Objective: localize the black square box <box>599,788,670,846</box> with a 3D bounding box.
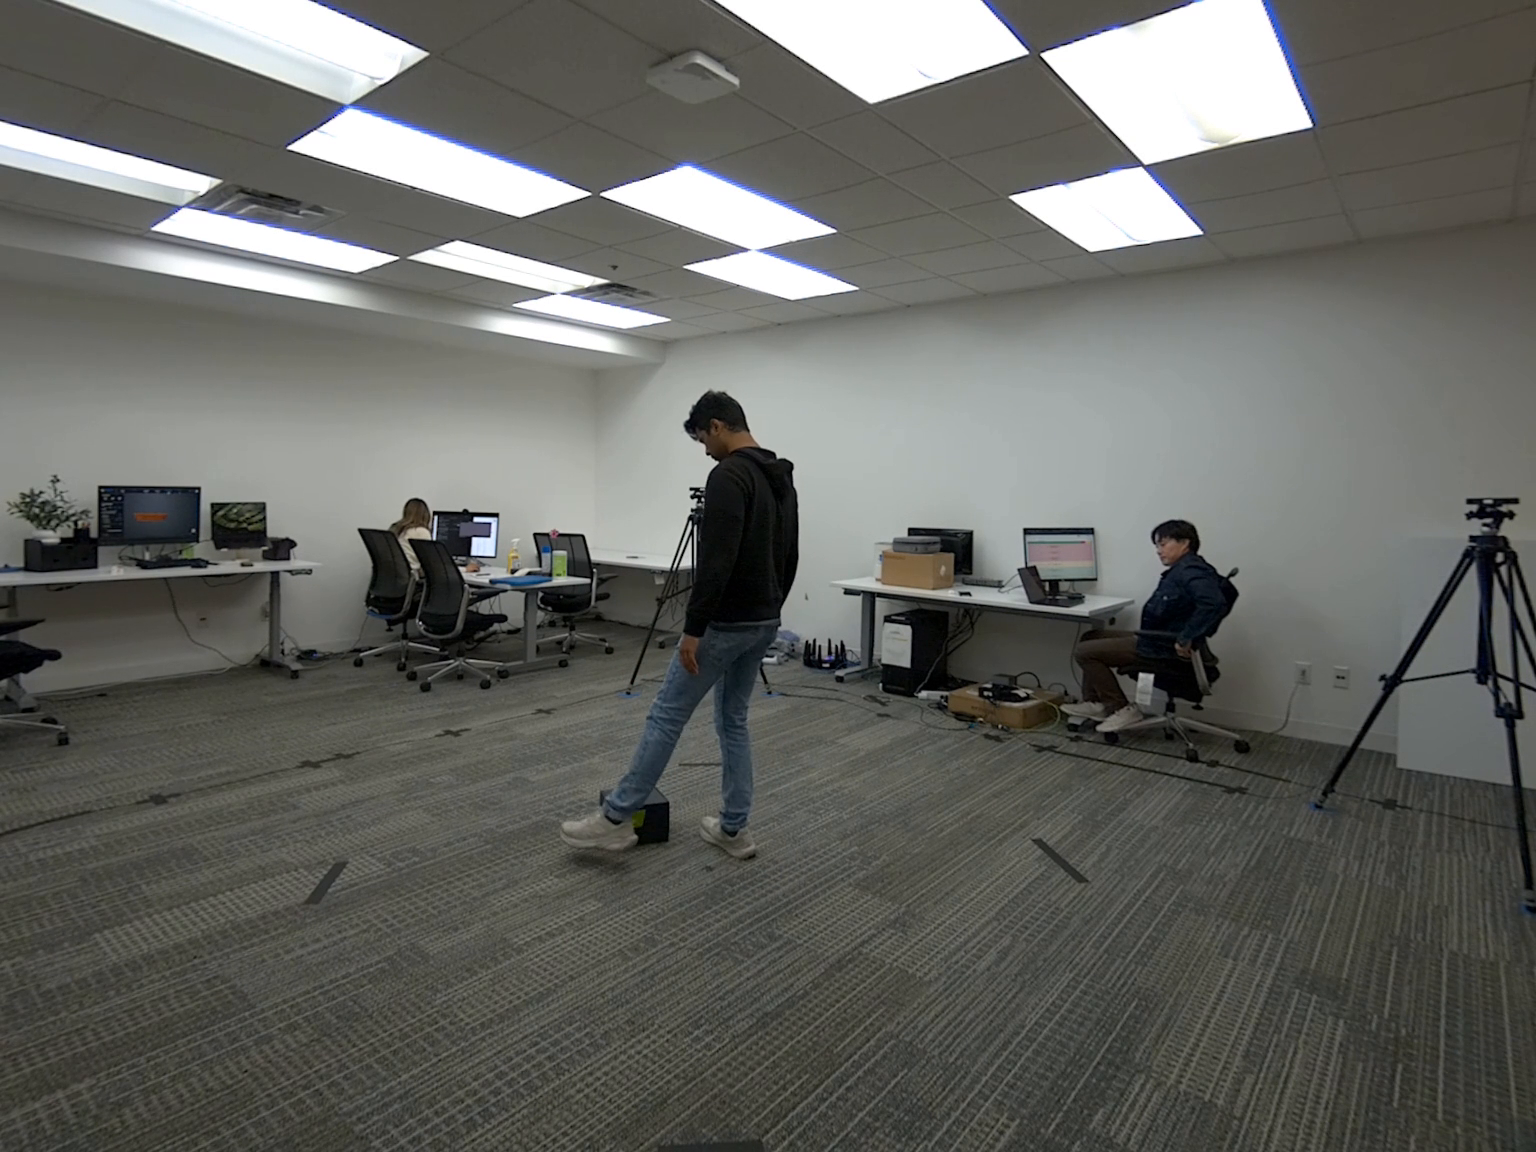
[{"bbox_3d":[-0.538,0.946,3.402,0.223,0.155,0.223,-1,5,-25],"label":"black square box"}]
